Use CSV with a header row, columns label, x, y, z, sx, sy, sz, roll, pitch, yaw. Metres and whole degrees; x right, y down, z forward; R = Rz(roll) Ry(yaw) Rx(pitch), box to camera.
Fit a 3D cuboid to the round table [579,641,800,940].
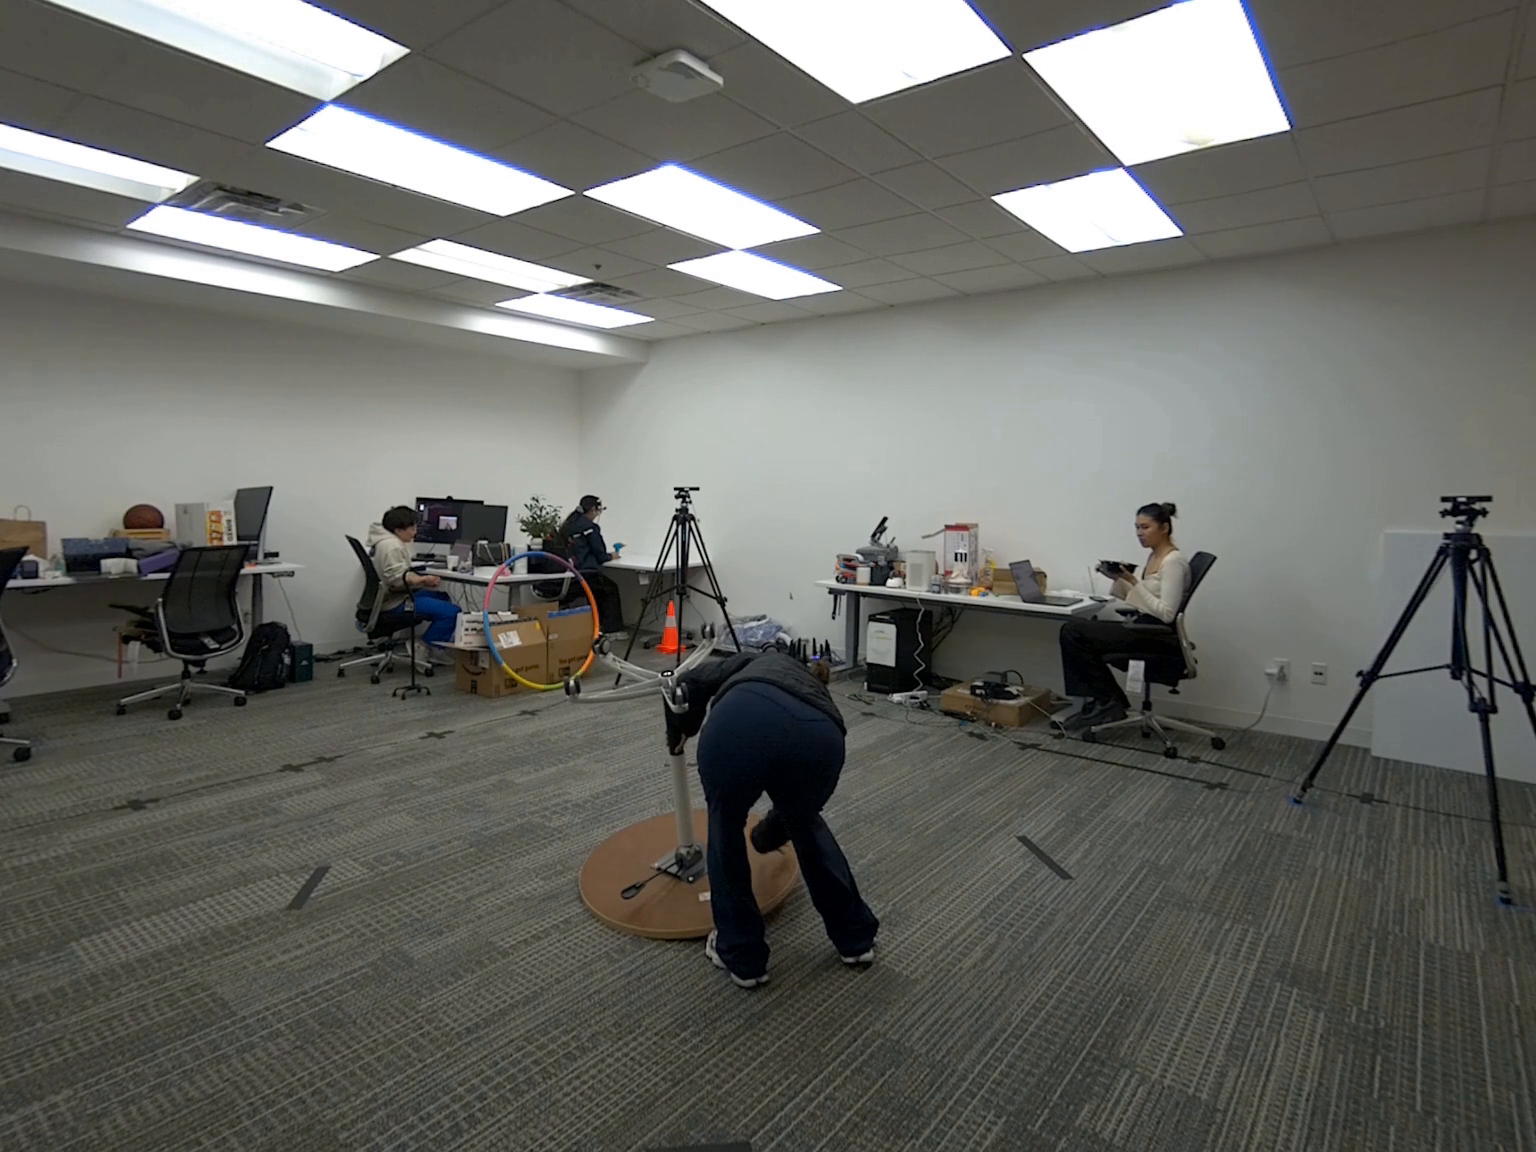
label,x,y,z,sx,sy,sz,roll,pitch,yaw
round table,-0.308,0.630,2.926,0.785,0.778,0.794,-6,11,-1
